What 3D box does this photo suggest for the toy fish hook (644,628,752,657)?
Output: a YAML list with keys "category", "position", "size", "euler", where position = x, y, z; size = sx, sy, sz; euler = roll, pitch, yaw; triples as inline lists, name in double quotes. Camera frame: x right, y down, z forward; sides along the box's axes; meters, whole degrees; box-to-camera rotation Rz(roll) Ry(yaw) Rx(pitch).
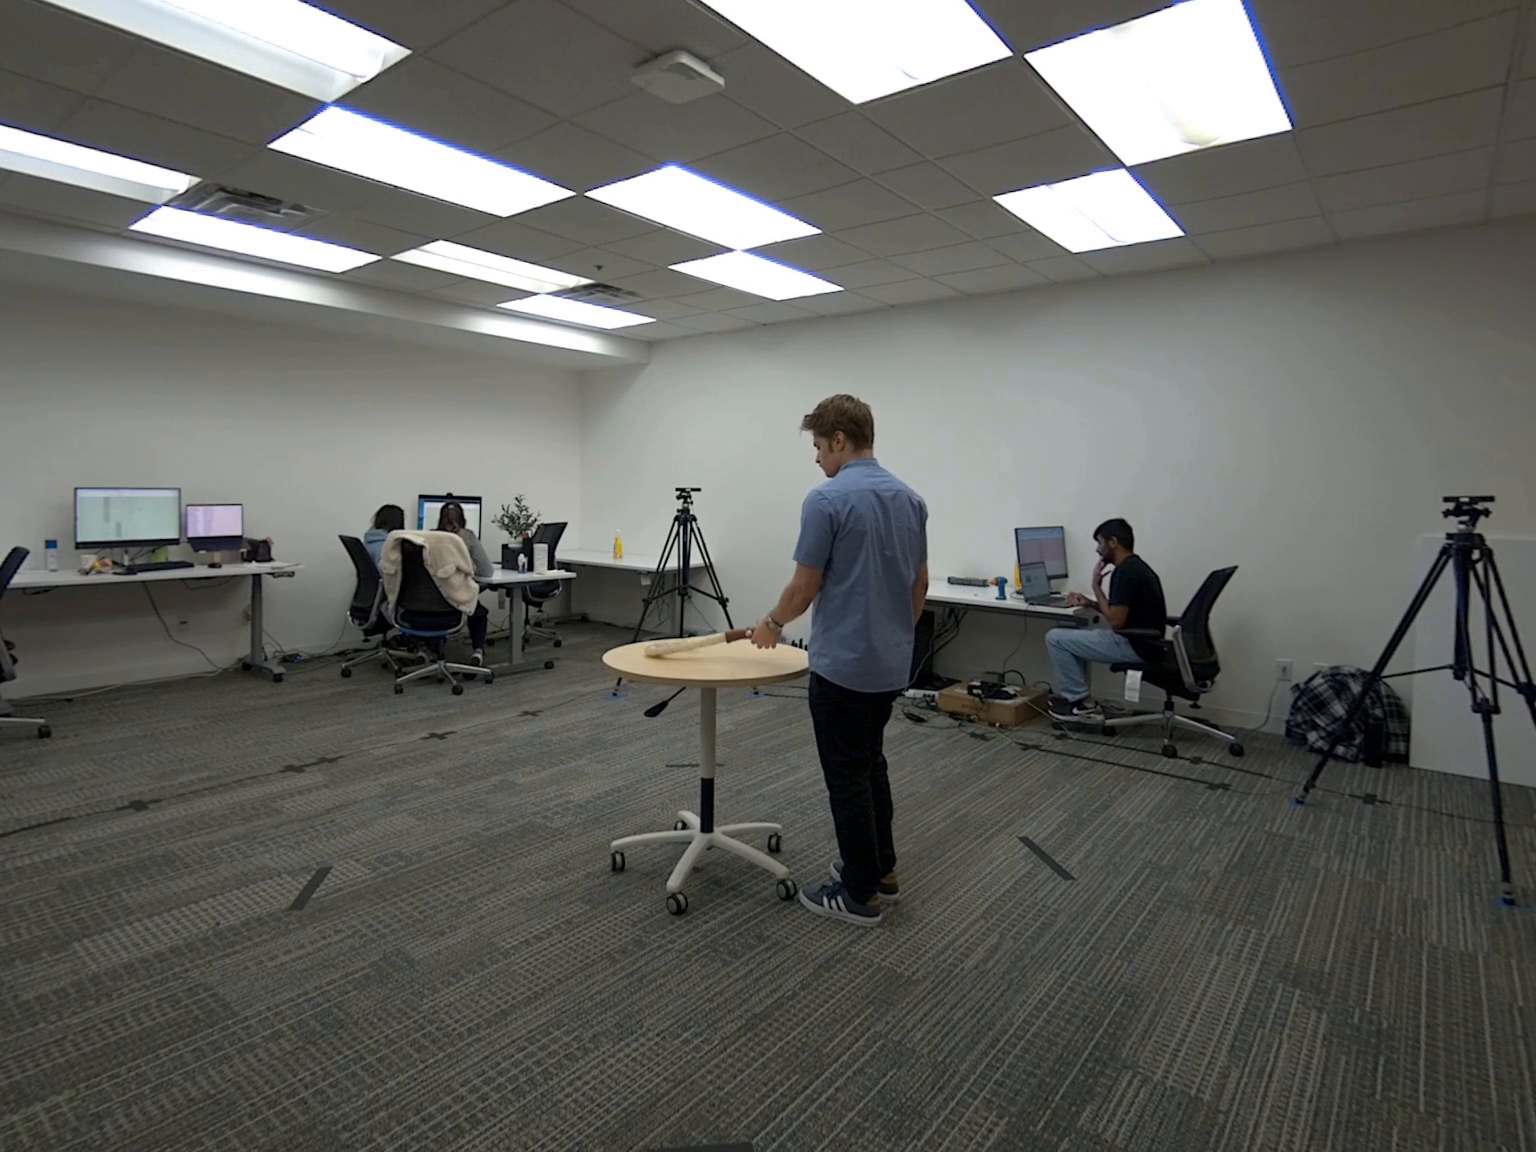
- category: "toy fish hook"
  position: [-0.214, 0.229, 3.094]
  size: [0.510, 0.048, 0.224]
  euler: [-8, 4, 6]
